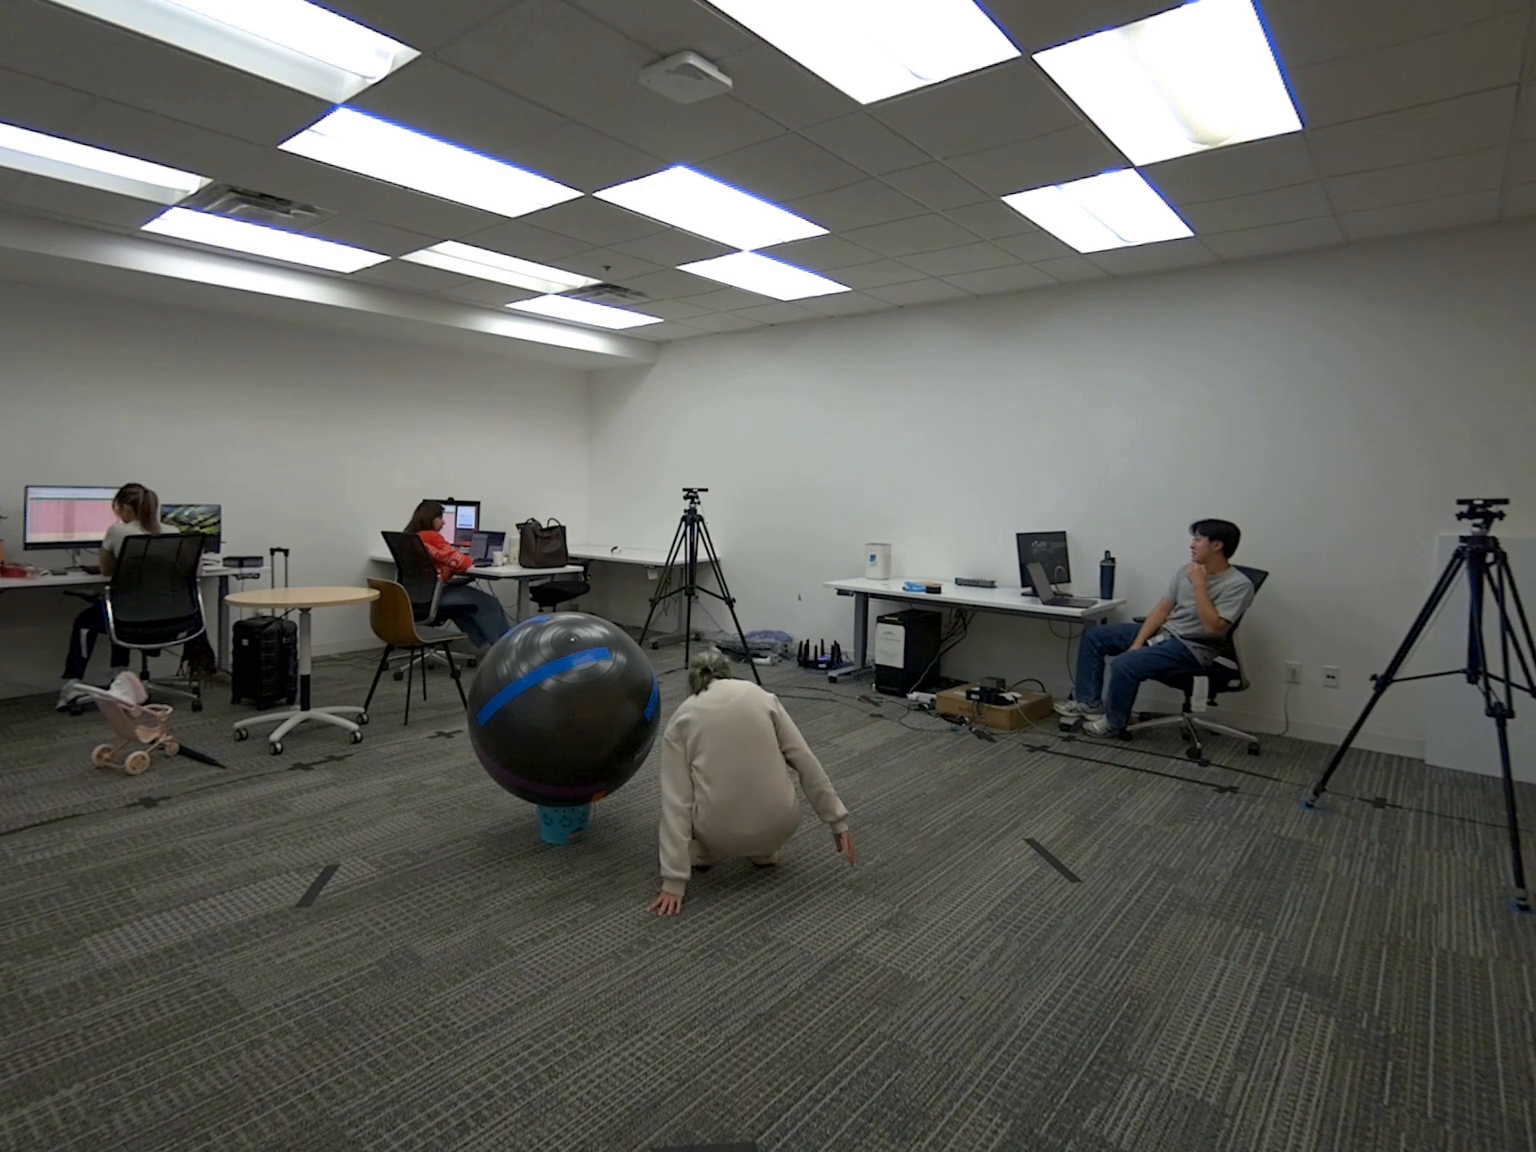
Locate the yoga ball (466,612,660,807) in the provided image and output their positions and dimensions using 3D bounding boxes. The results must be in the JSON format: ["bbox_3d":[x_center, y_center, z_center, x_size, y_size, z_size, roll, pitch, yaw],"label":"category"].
[{"bbox_3d":[-0.815,0.527,3.381,0.757,0.756,0.761,1,4,-2],"label":"yoga ball"}]
